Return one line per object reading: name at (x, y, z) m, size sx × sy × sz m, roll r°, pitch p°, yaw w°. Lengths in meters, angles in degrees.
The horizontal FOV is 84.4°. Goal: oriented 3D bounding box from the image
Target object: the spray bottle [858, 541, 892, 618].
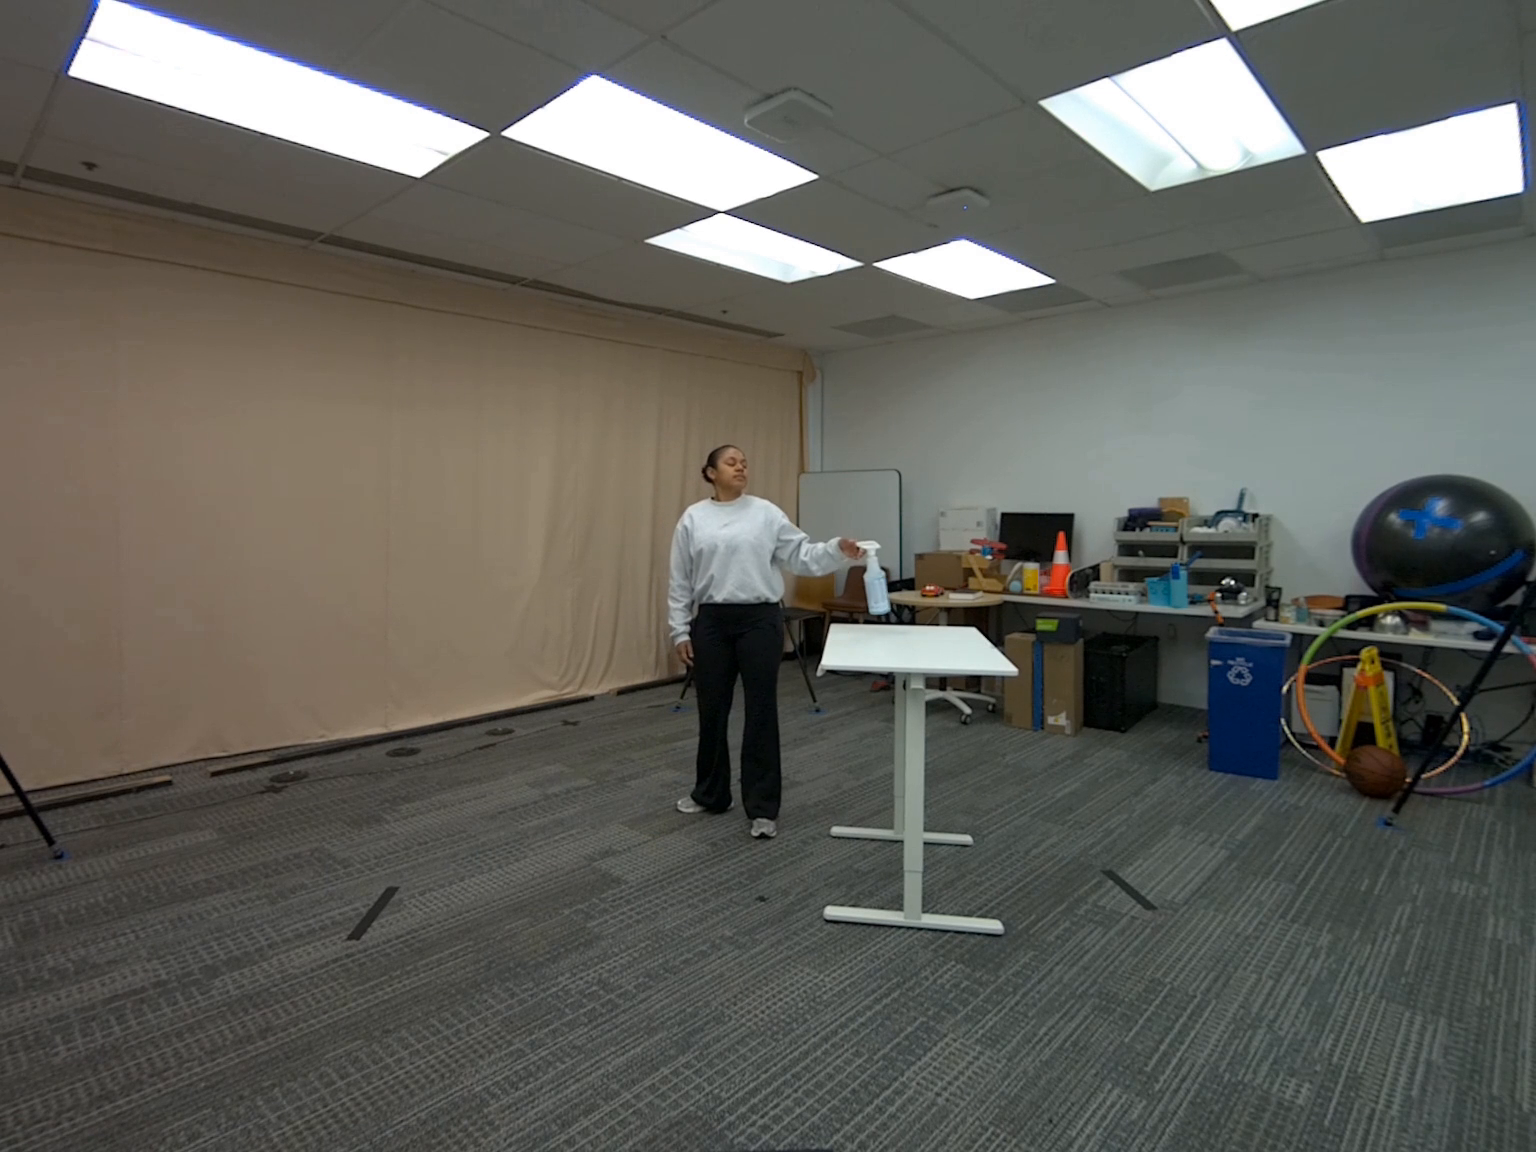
spray bottle at (0.419, 0.008, 3.385) m, size 0.092 × 0.295 × 0.085 m, roll -3°, pitch 12°, yaw 31°
